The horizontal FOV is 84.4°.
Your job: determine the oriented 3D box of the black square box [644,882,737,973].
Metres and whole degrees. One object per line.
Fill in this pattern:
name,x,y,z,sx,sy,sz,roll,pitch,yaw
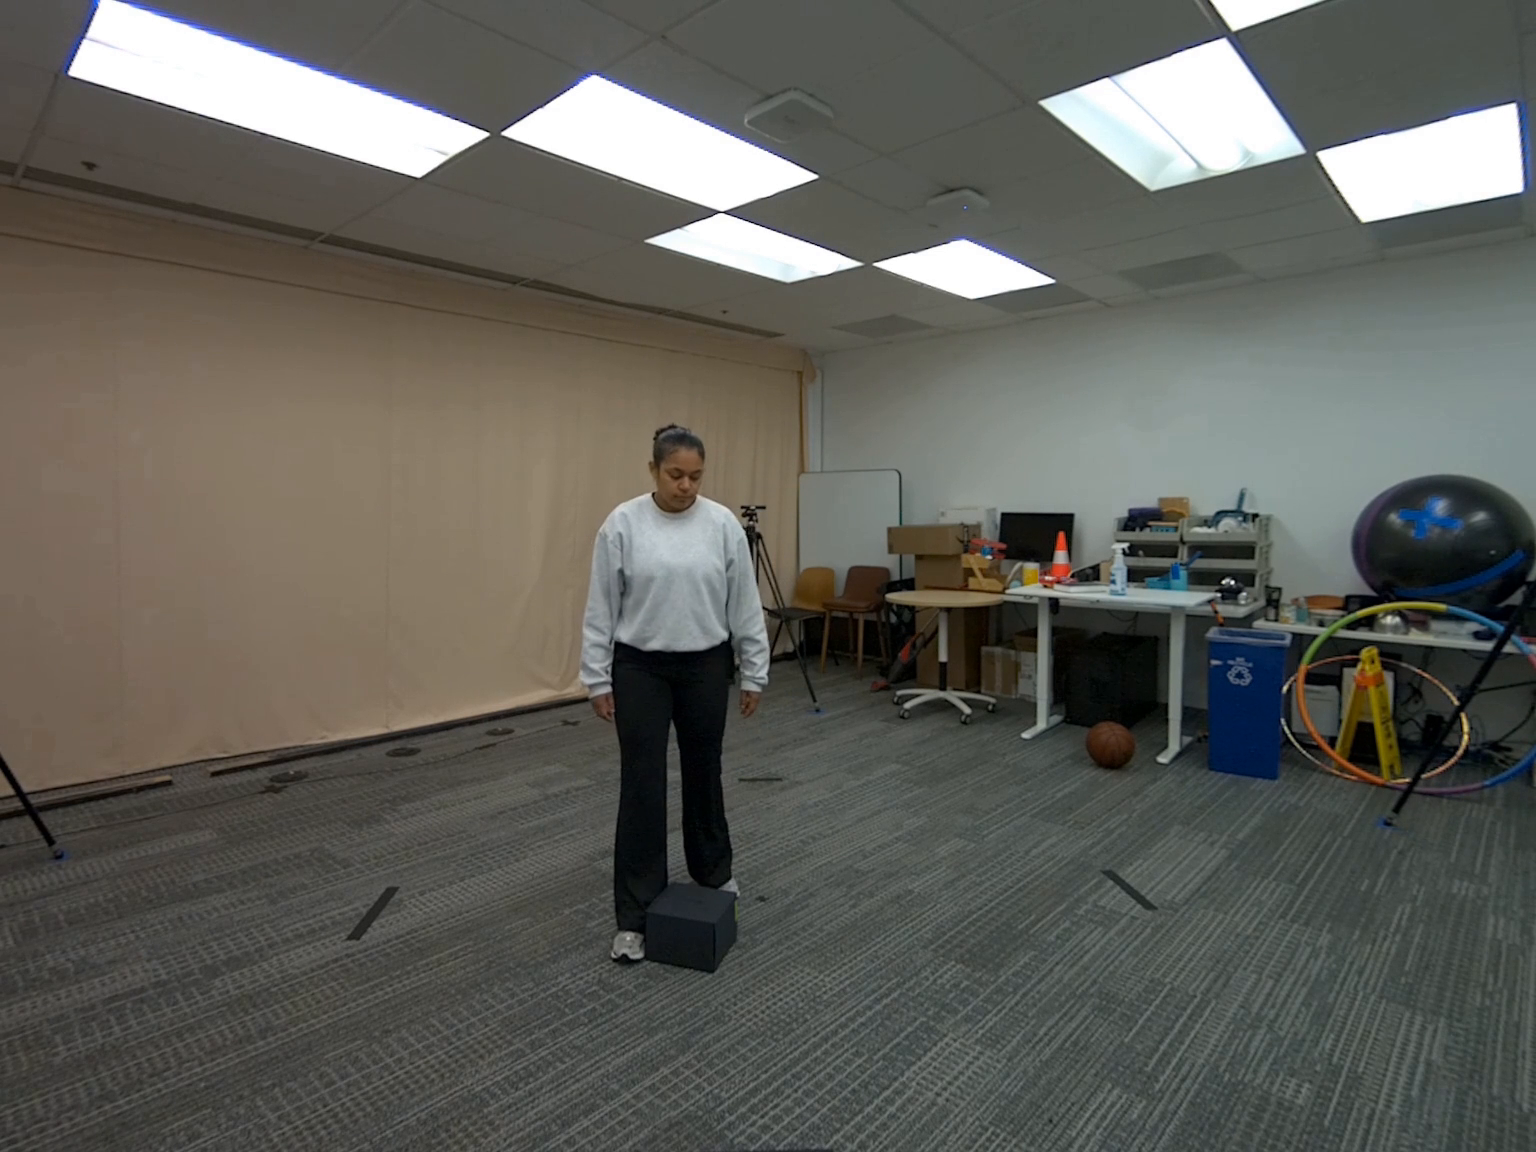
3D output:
black square box,-0.234,1.087,2.634,0.232,0.155,0.213,1,4,18
